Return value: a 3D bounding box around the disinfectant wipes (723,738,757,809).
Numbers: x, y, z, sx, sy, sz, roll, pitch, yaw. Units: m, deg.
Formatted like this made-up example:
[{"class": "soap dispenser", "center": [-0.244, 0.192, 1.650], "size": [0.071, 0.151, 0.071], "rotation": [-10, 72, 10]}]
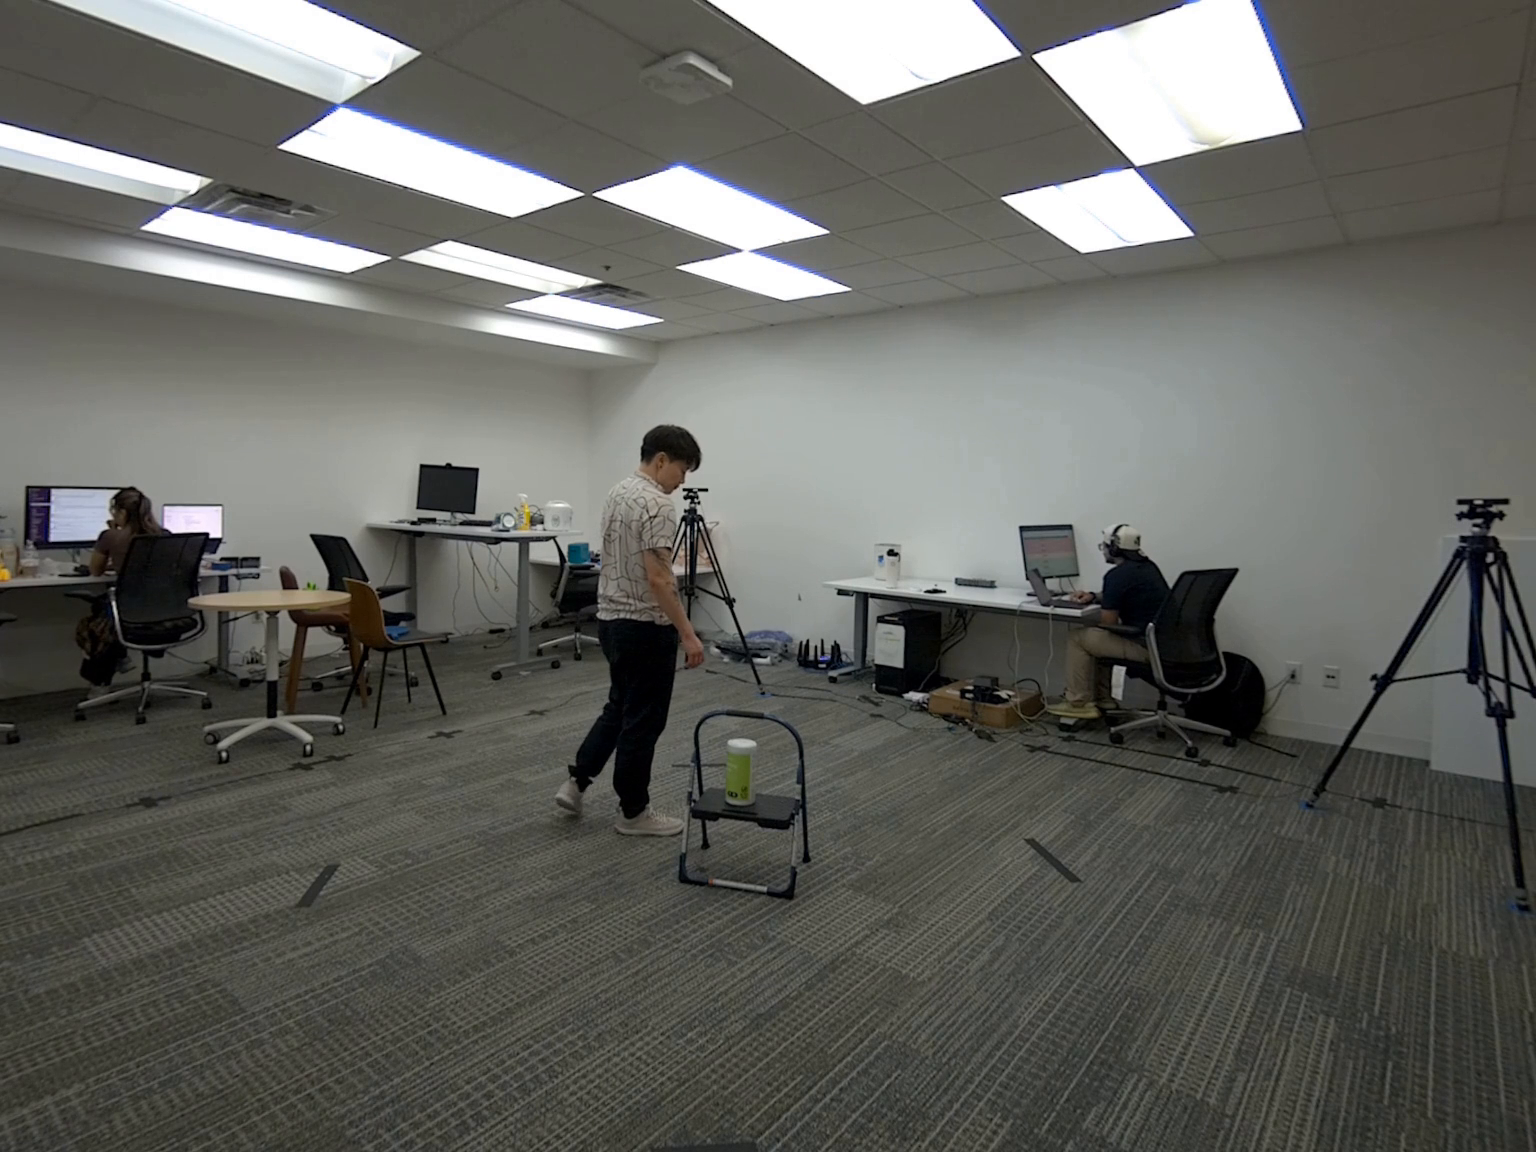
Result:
[{"class": "disinfectant wipes", "center": [-0.105, 0.712, 3.075], "size": [0.117, 0.217, 0.118], "rotation": [6, 1, -2]}]
